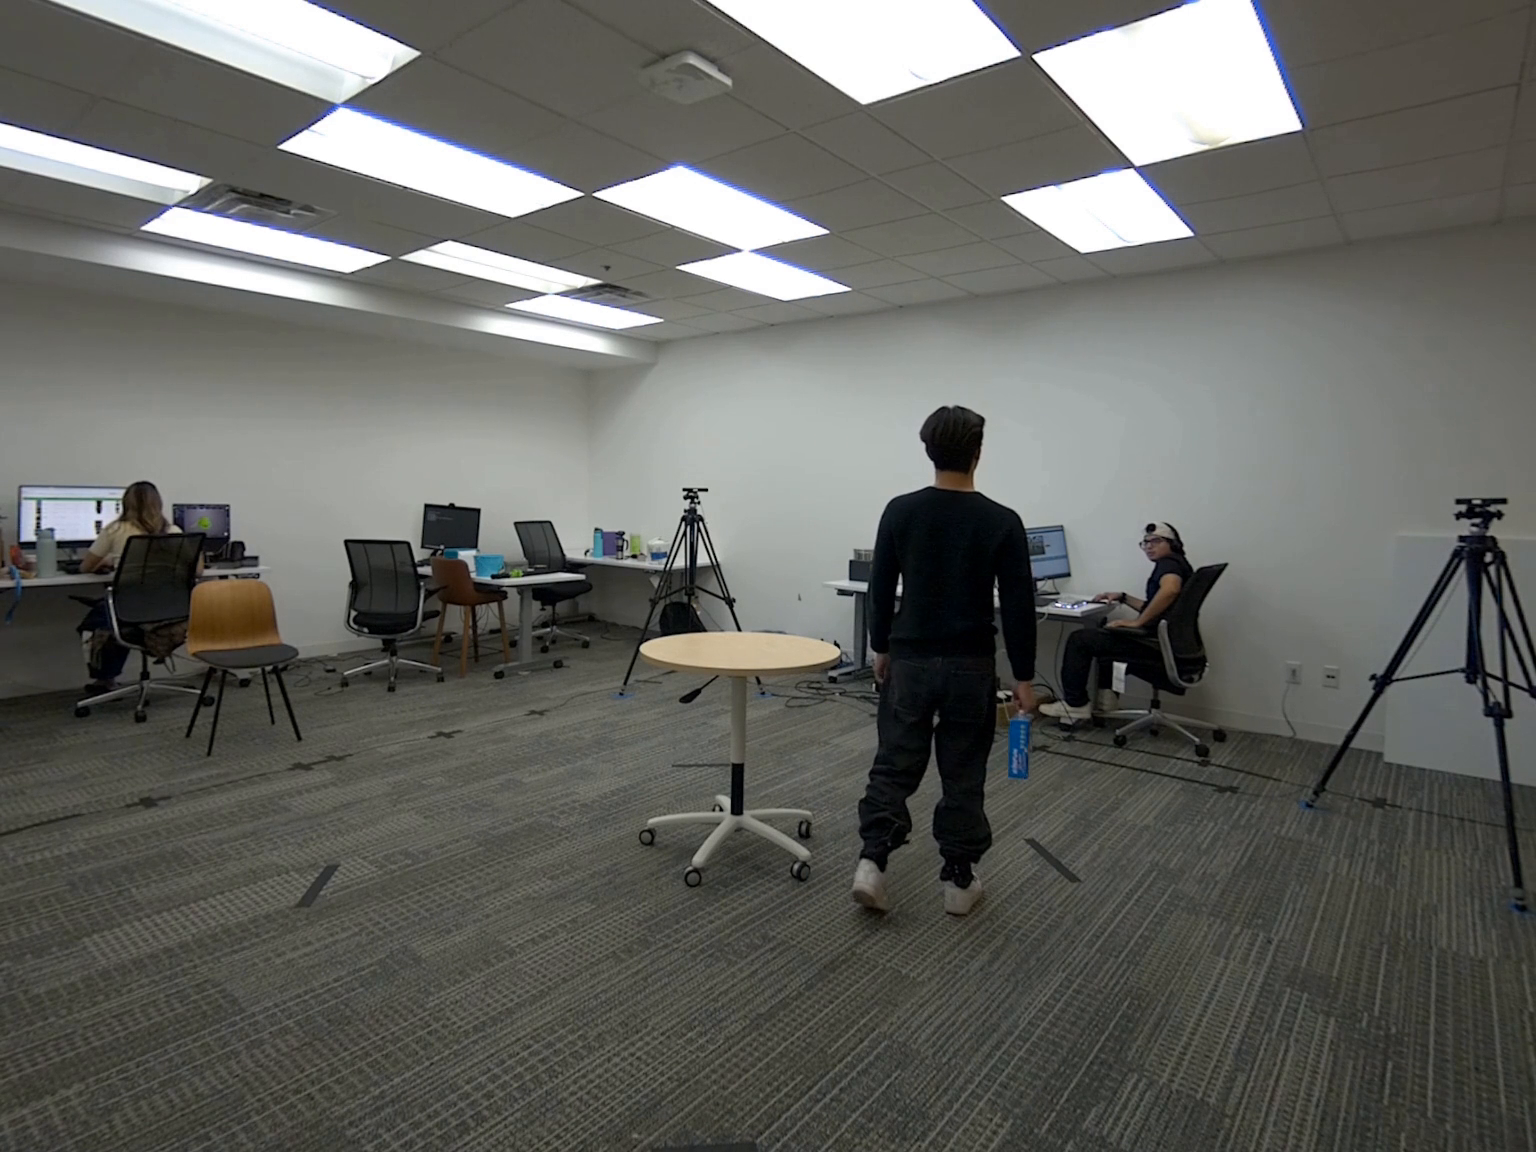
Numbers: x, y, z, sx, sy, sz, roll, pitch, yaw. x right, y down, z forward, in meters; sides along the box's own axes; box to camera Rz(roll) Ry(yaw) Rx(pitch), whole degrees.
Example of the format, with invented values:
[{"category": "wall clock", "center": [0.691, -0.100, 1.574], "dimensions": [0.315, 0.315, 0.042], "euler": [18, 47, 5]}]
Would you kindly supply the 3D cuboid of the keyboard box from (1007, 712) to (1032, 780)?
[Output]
[{"category": "keyboard box", "center": [0.813, 0.544, 2.799], "dimensions": [0.060, 0.177, 0.426], "euler": [0, -6, 15]}]
